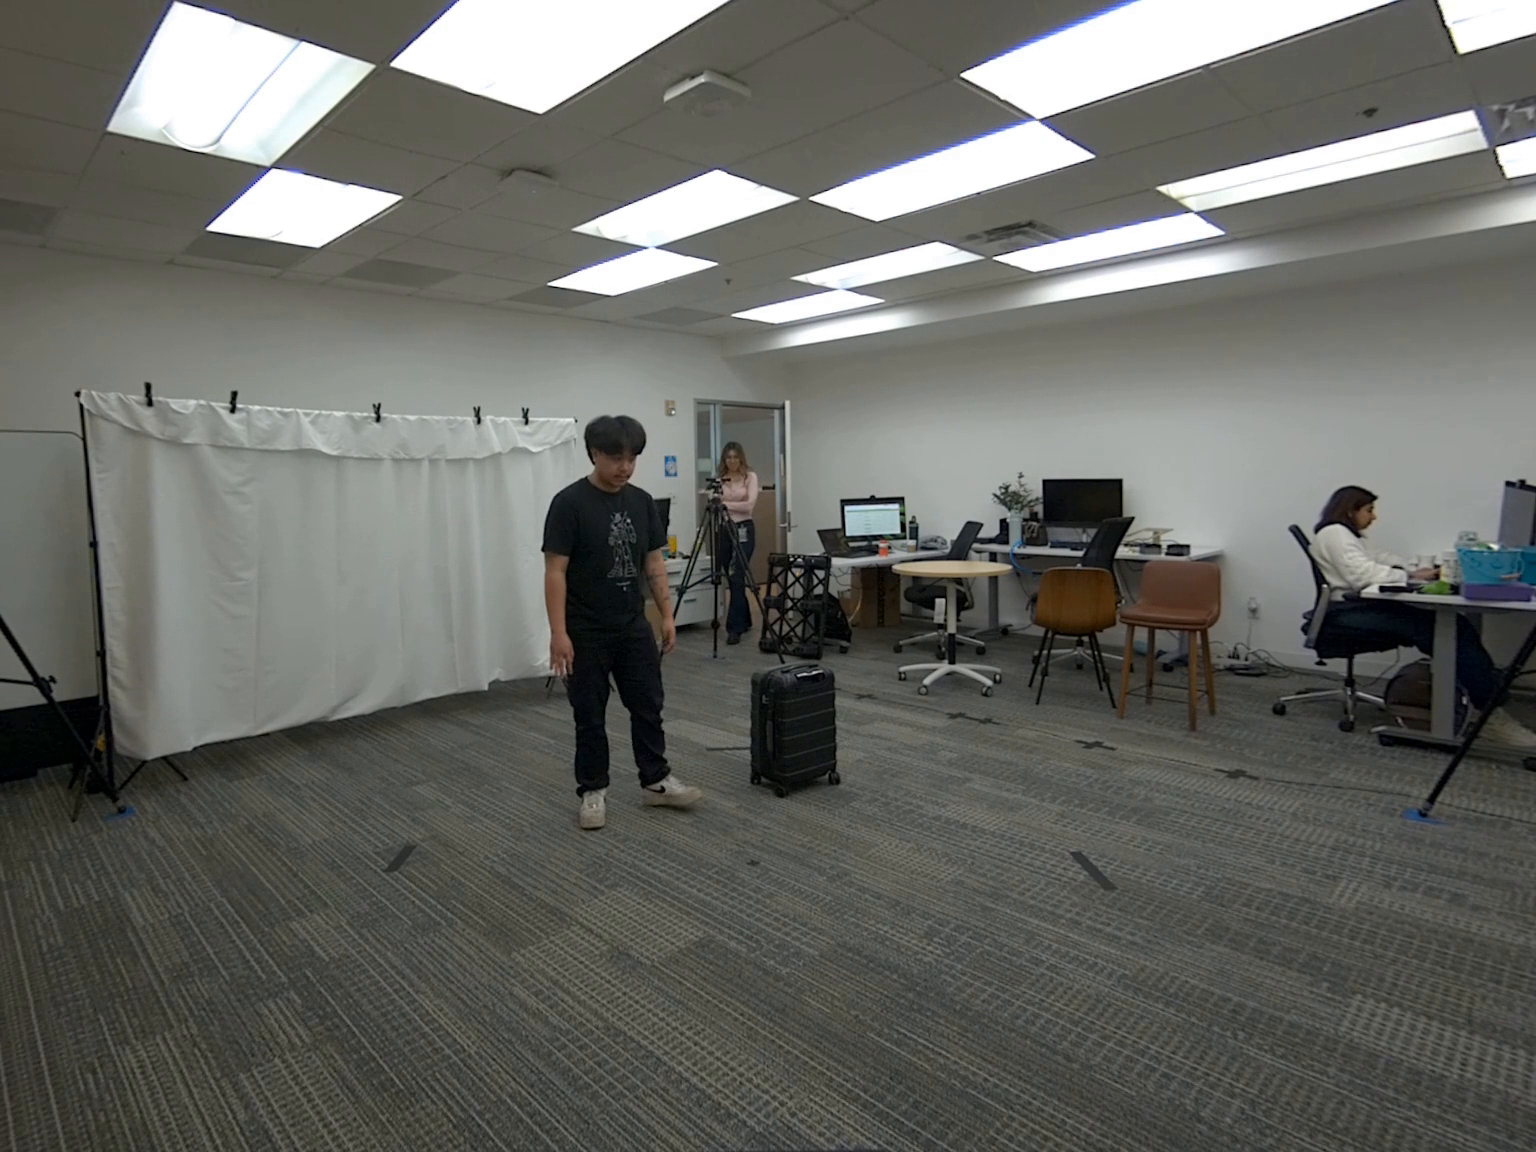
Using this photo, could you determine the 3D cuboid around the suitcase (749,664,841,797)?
[{"bbox_3d":[0.112,0.675,3.897,0.366,0.547,0.256,-4,5,-38],"label":"suitcase"}]
